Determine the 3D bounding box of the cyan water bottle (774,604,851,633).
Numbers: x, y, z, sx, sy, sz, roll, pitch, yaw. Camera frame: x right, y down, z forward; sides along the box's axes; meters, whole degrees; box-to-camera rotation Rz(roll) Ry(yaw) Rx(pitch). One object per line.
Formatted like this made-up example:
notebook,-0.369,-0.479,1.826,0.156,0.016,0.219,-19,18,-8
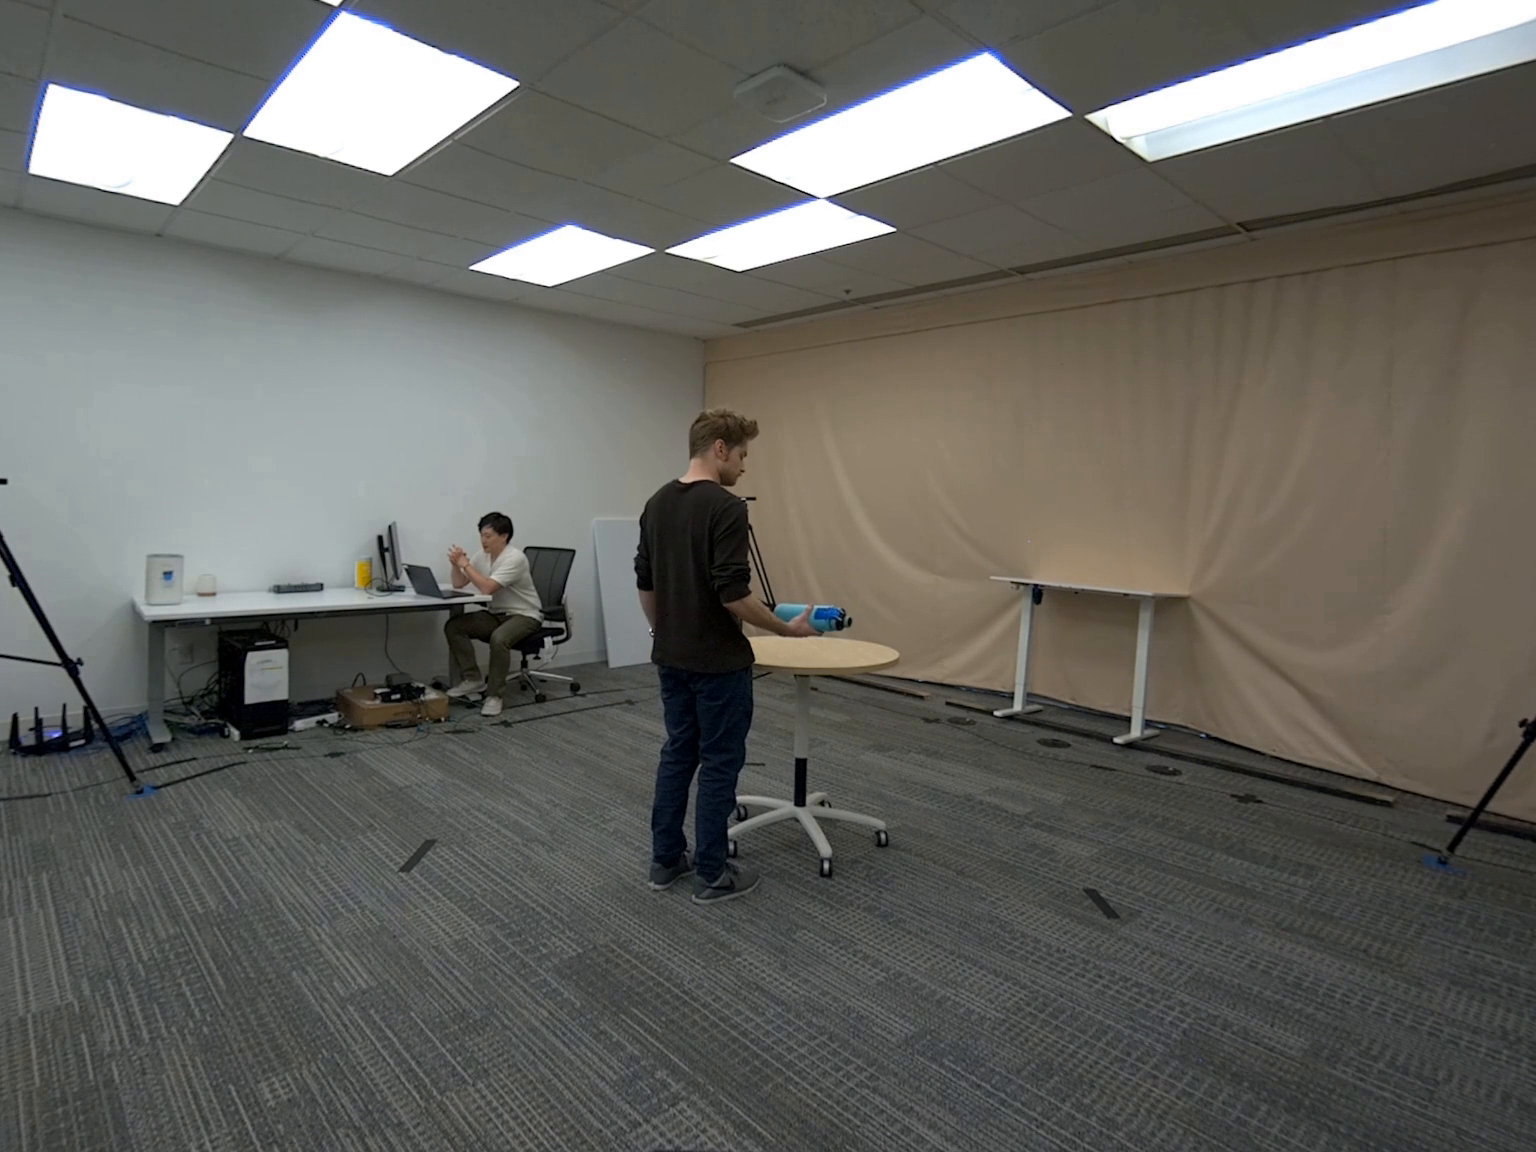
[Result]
cyan water bottle,0.147,0.148,2.947,0.290,0.092,0.090,1,3,35
